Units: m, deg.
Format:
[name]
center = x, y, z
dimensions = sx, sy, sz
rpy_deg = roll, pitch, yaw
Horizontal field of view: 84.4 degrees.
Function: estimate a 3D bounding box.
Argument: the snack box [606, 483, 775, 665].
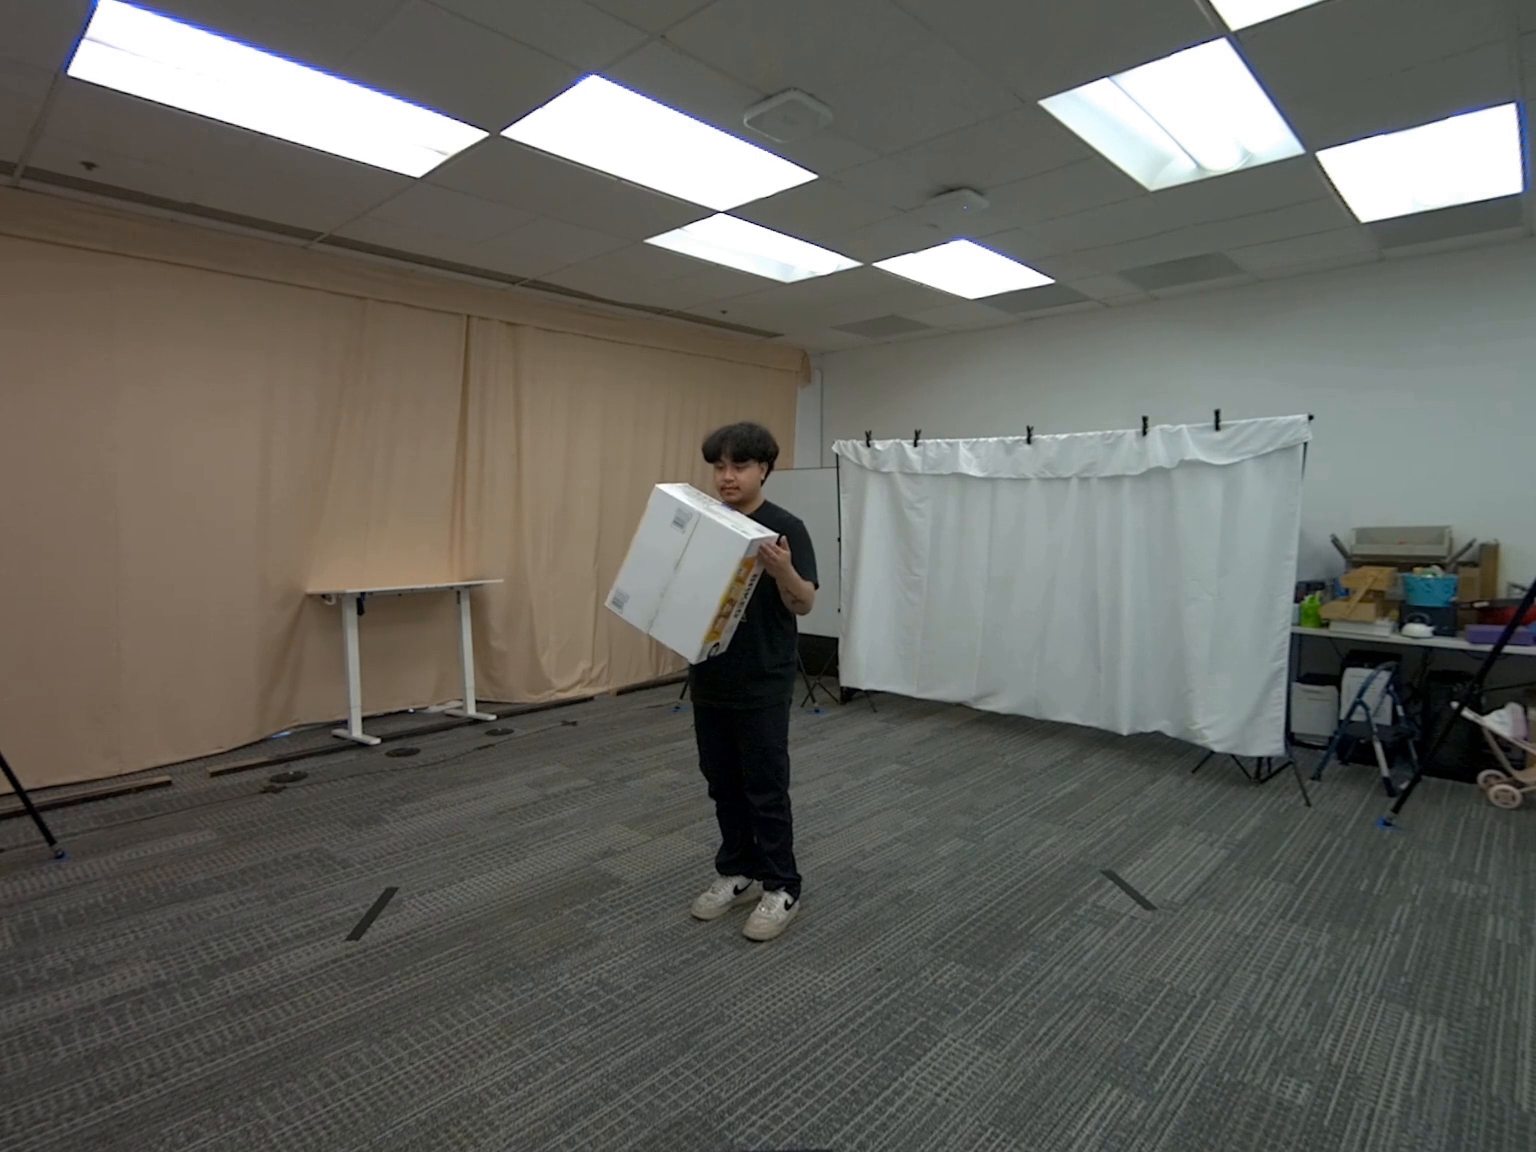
[snack box]
center = -0.227, -0.018, 2.472
dimensions = 0.349, 0.404, 0.201
rpy_deg = 30, 16, 19
